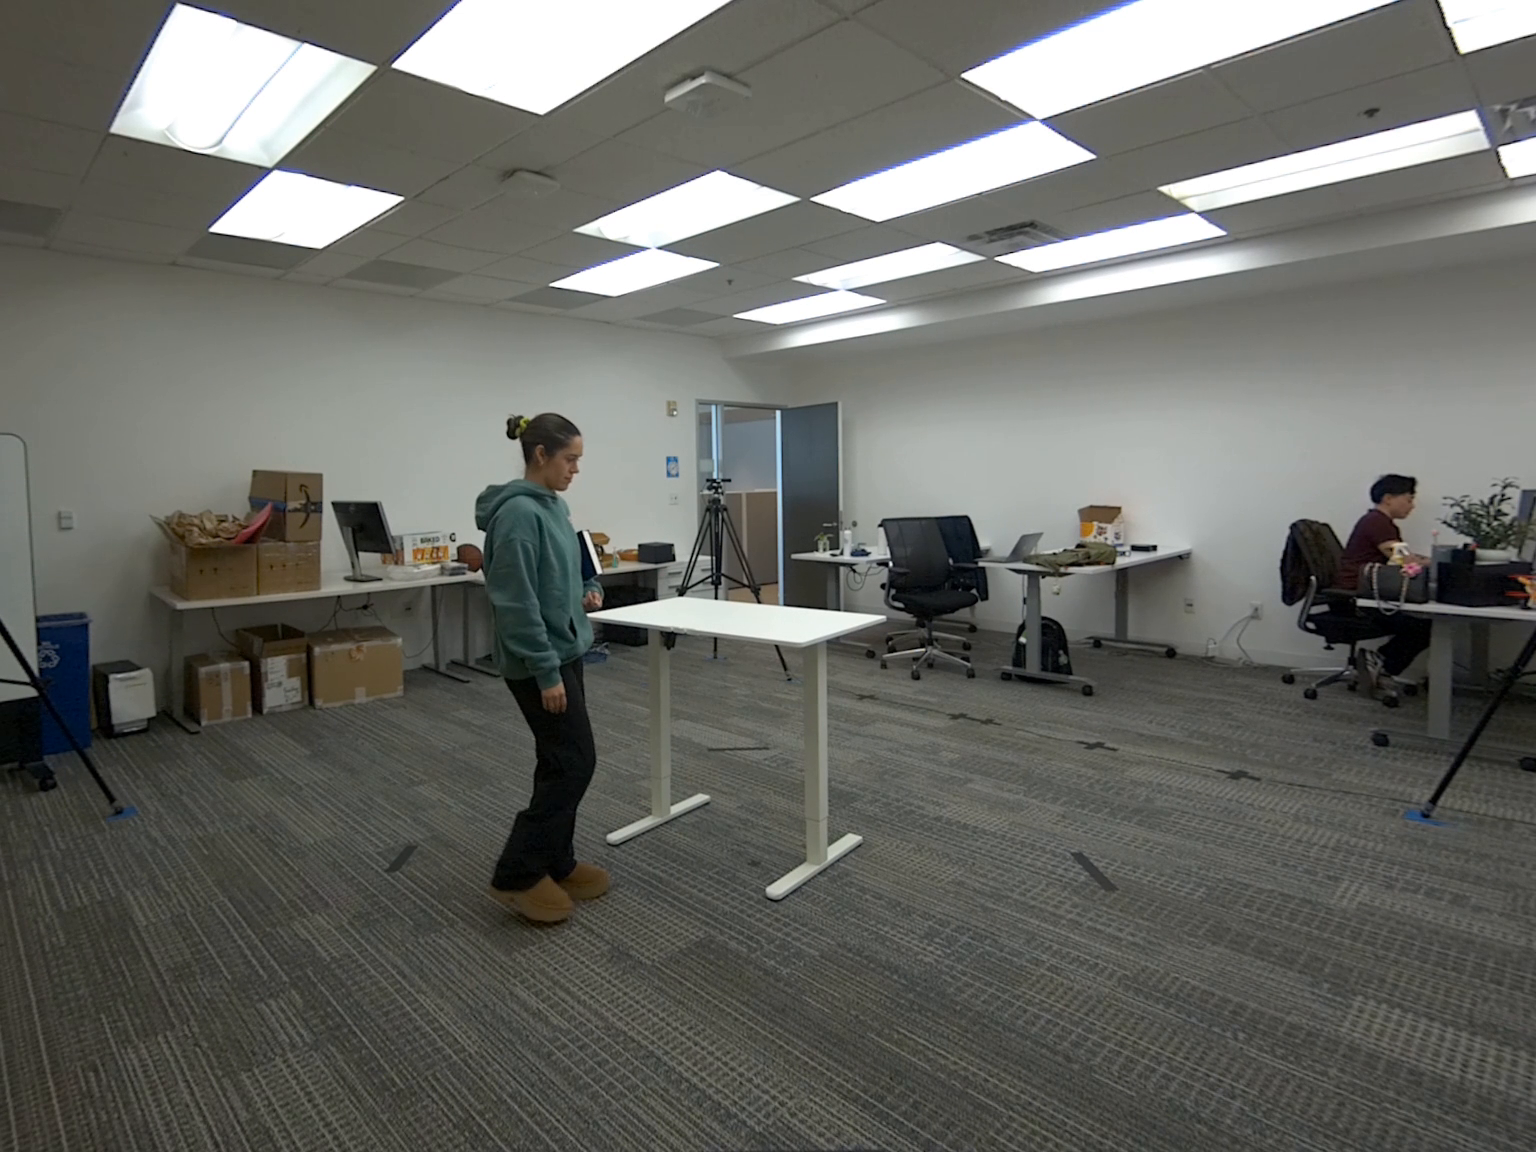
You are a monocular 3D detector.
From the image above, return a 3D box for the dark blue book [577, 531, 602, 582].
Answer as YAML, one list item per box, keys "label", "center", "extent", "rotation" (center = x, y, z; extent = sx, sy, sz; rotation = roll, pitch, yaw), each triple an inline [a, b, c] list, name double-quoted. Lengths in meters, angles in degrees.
- label: "dark blue book"
  center: [-0.693, -0.043, 2.943]
  extent: [0.247, 0.165, 0.044]
  rotation: [-23, -11, 18]
